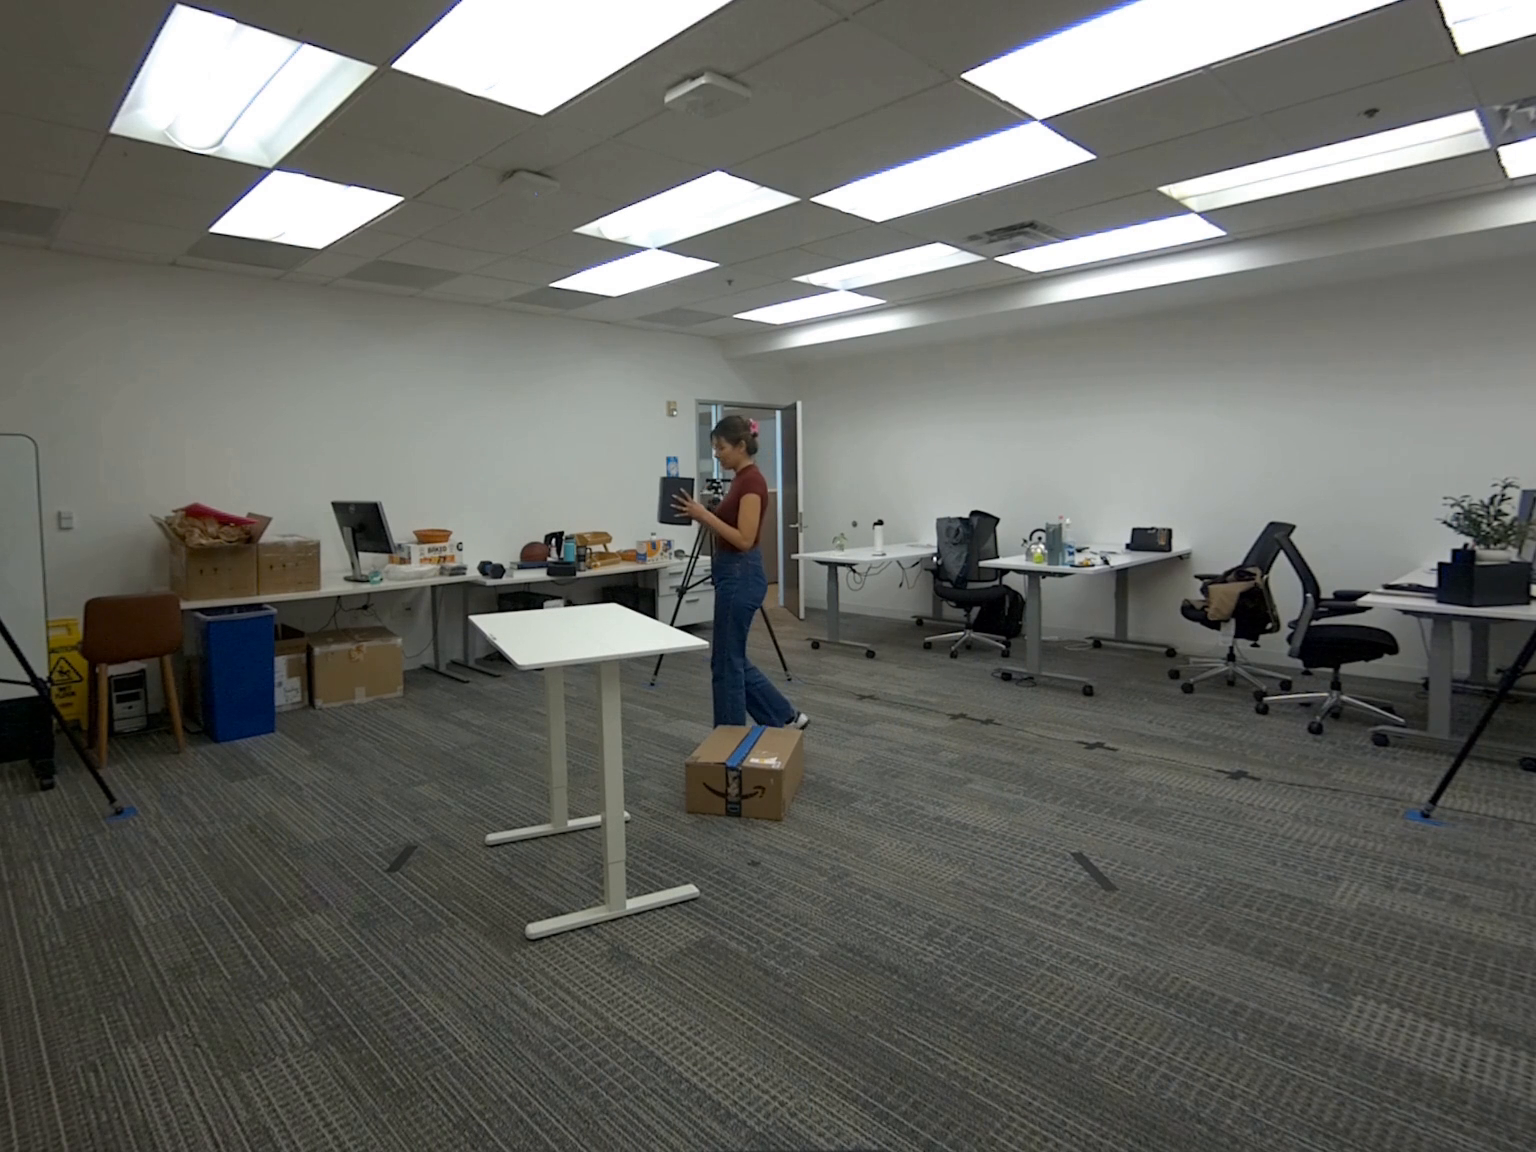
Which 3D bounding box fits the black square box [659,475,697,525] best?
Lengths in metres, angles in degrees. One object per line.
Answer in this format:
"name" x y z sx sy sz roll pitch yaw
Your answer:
"black square box" -0.444 -0.377 4.202 0.154 0.227 0.220 -1 4 -11
